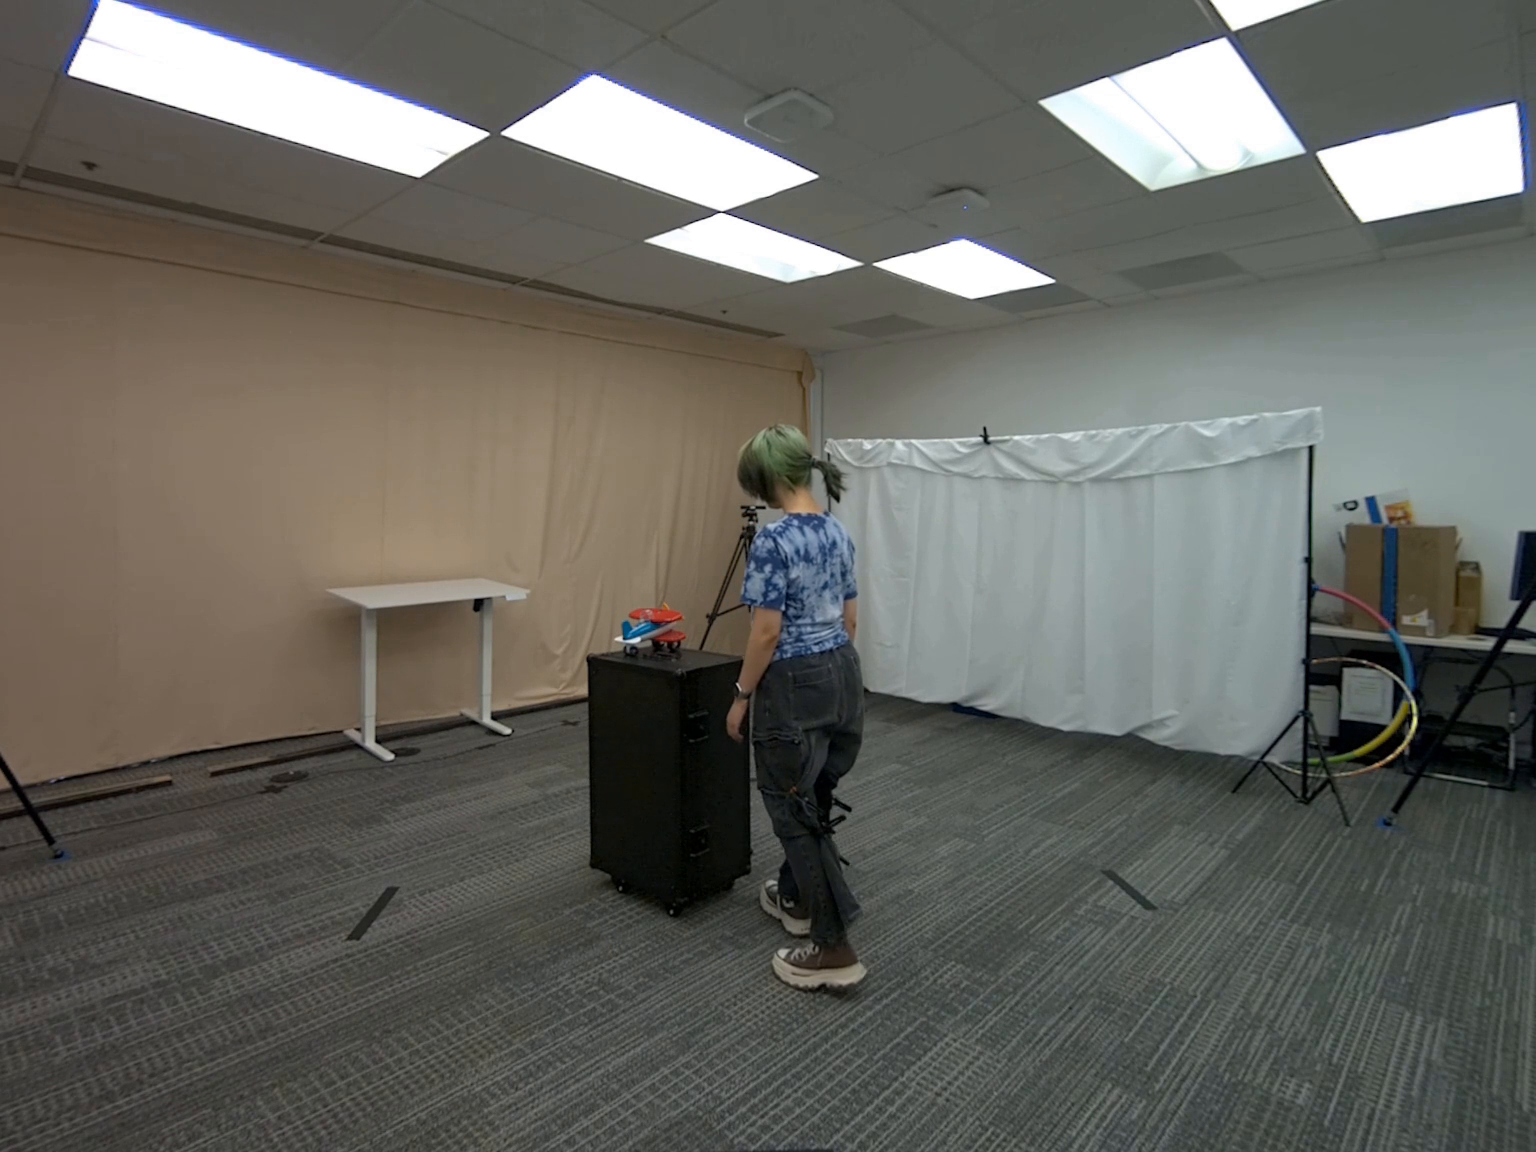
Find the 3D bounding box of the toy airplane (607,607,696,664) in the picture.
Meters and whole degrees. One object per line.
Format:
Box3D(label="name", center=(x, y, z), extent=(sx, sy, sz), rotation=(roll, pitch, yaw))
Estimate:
Box3D(label="toy airplane", center=(-0.426, 0.211, 3.121), extent=(0.255, 0.156, 0.256), rotation=(2, 4, 13))
